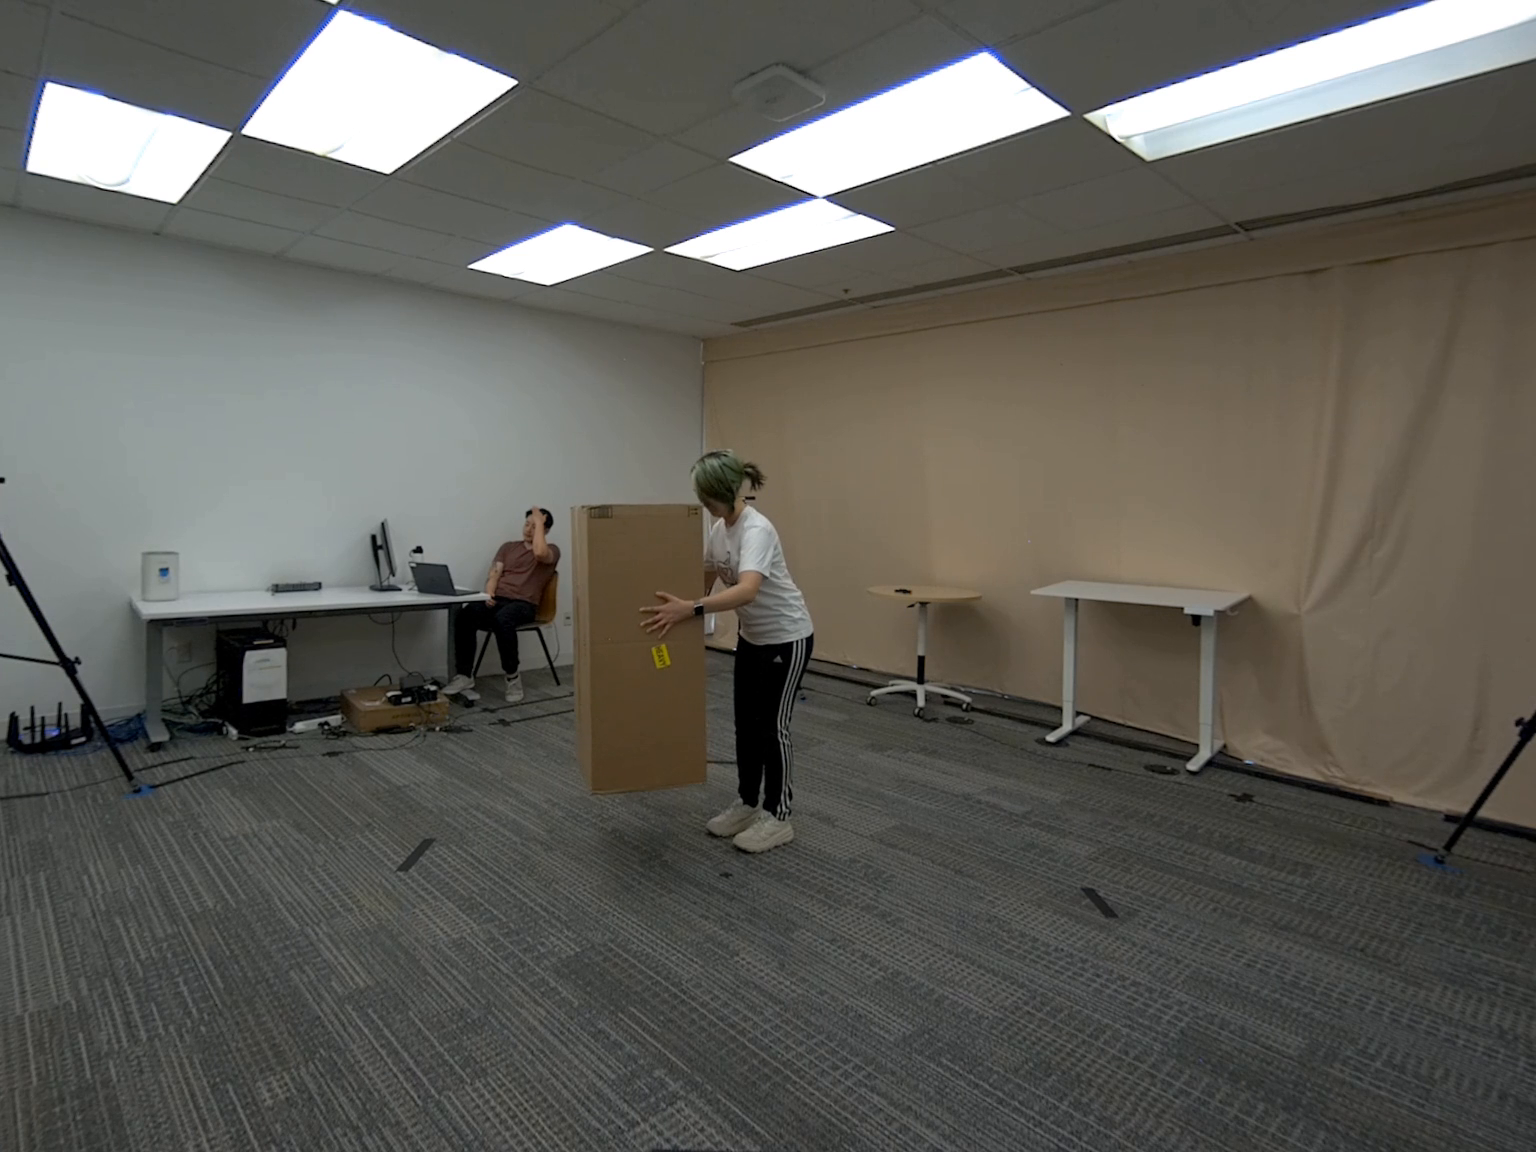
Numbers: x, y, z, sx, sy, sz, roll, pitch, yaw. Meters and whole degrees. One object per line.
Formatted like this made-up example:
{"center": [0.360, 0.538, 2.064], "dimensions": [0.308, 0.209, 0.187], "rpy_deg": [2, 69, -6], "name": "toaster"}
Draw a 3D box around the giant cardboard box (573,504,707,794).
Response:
{"center": [-0.524, 0.246, 3.263], "dimensions": [0.420, 1.024, 0.586], "rpy_deg": [-1, 2, -18], "name": "giant cardboard box"}
